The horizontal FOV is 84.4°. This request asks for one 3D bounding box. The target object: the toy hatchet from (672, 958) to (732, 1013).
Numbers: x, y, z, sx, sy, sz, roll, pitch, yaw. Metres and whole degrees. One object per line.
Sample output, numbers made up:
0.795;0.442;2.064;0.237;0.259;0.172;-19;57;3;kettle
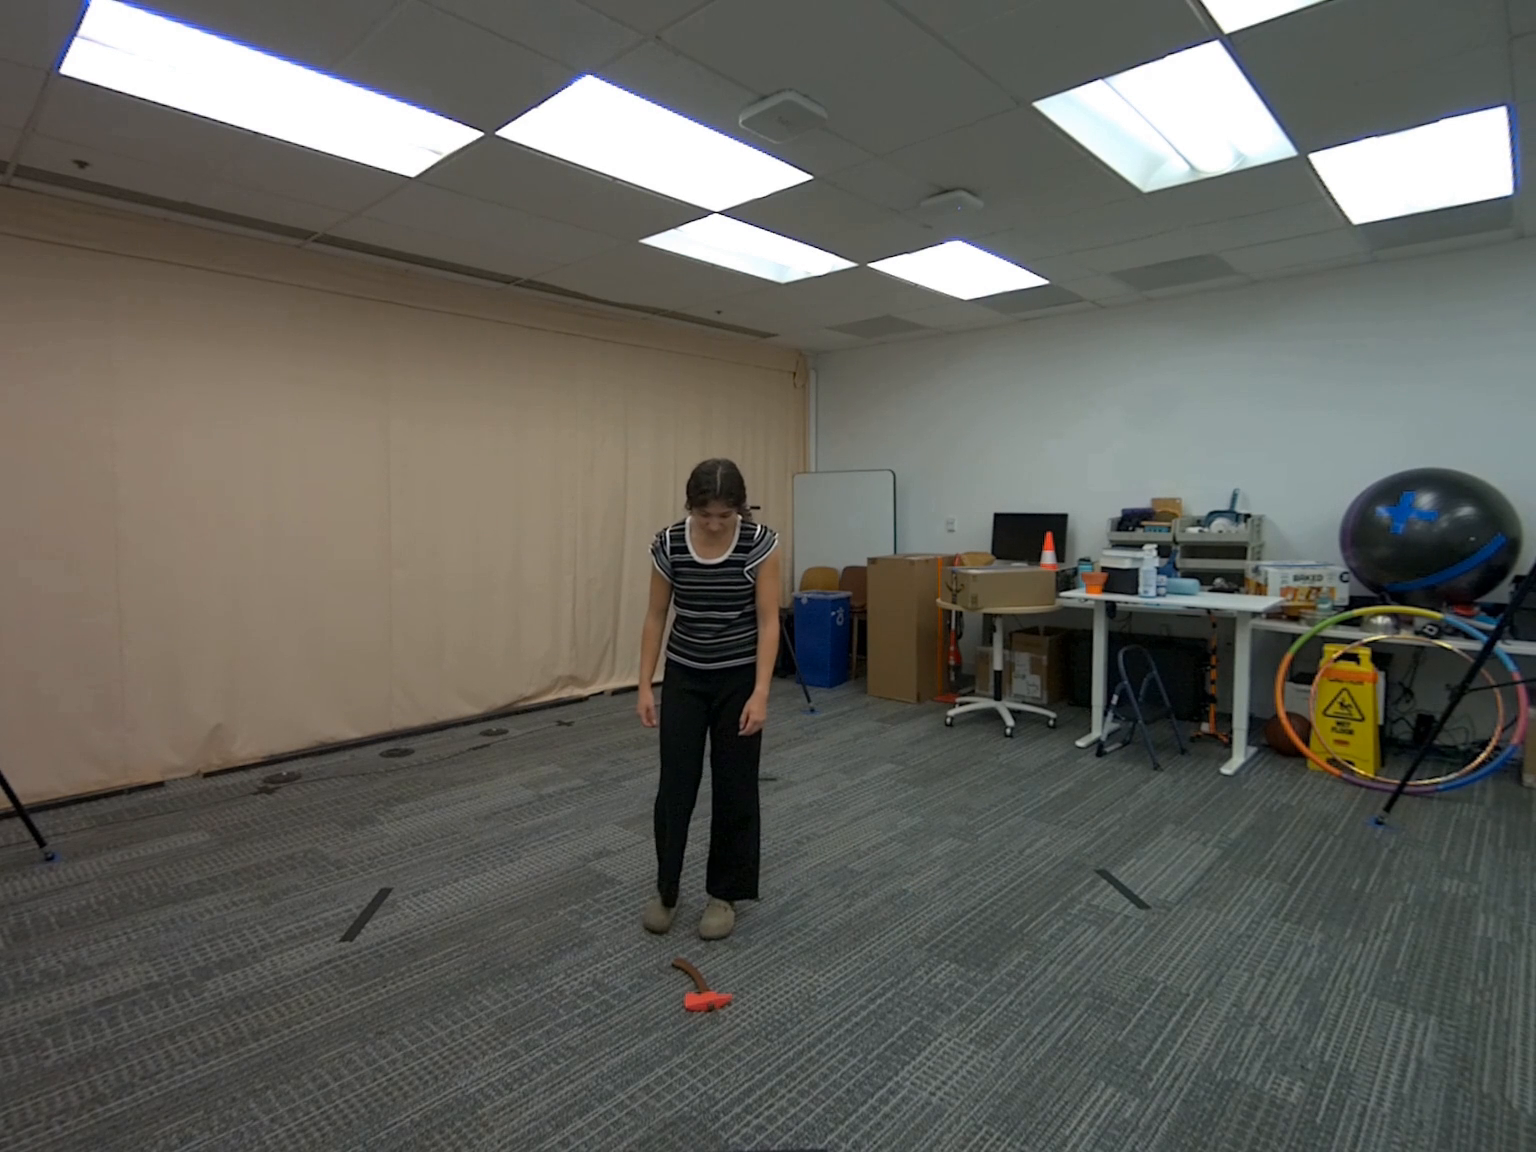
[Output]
-0.226;1.172;2.430;0.127;0.029;0.278;-6;5;-36;toy hatchet
